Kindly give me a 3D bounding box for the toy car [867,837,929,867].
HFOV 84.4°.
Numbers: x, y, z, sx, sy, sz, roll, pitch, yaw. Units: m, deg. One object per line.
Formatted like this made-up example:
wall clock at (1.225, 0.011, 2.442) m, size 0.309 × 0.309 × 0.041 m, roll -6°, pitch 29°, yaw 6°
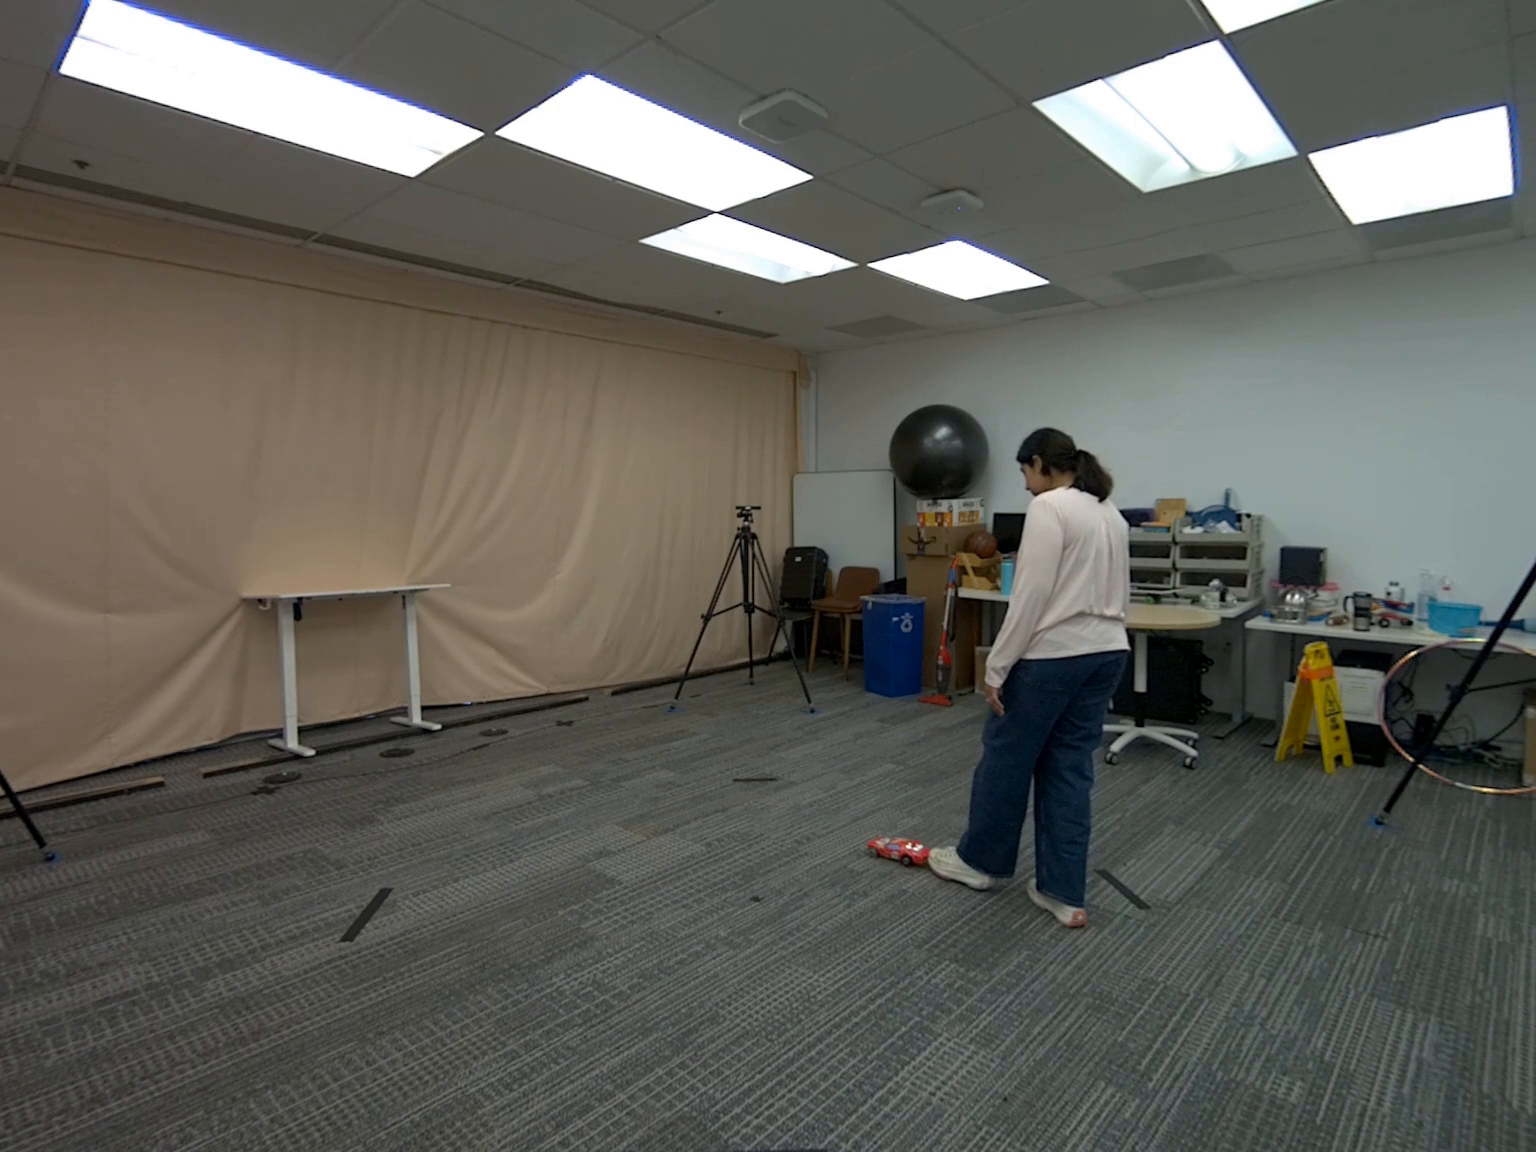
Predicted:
toy car at (0.527, 1.082, 3.317) m, size 0.261 × 0.083 × 0.126 m, roll -11°, pitch -4°, yaw 37°
